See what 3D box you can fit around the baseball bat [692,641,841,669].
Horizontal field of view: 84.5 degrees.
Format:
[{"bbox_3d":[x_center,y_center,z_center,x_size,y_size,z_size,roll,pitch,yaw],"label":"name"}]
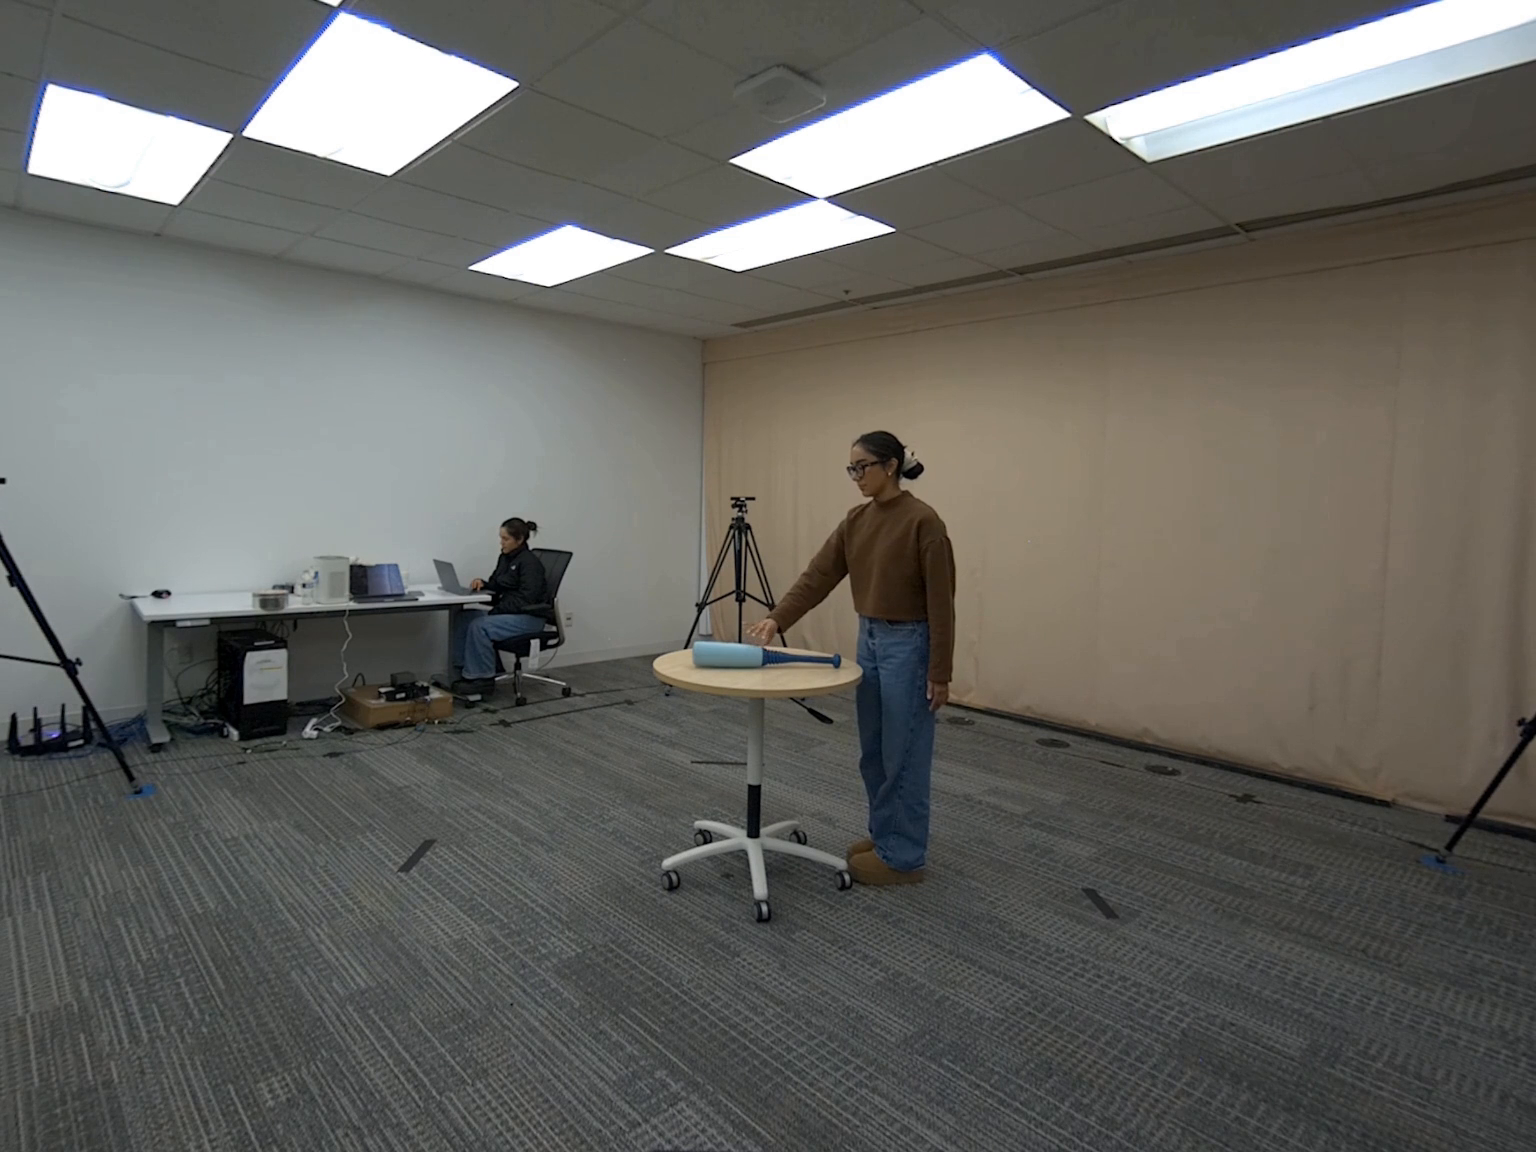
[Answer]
[{"bbox_3d":[-0.004,0.297,3.043,0.541,0.089,0.089,4,4,-4],"label":"baseball bat"}]
